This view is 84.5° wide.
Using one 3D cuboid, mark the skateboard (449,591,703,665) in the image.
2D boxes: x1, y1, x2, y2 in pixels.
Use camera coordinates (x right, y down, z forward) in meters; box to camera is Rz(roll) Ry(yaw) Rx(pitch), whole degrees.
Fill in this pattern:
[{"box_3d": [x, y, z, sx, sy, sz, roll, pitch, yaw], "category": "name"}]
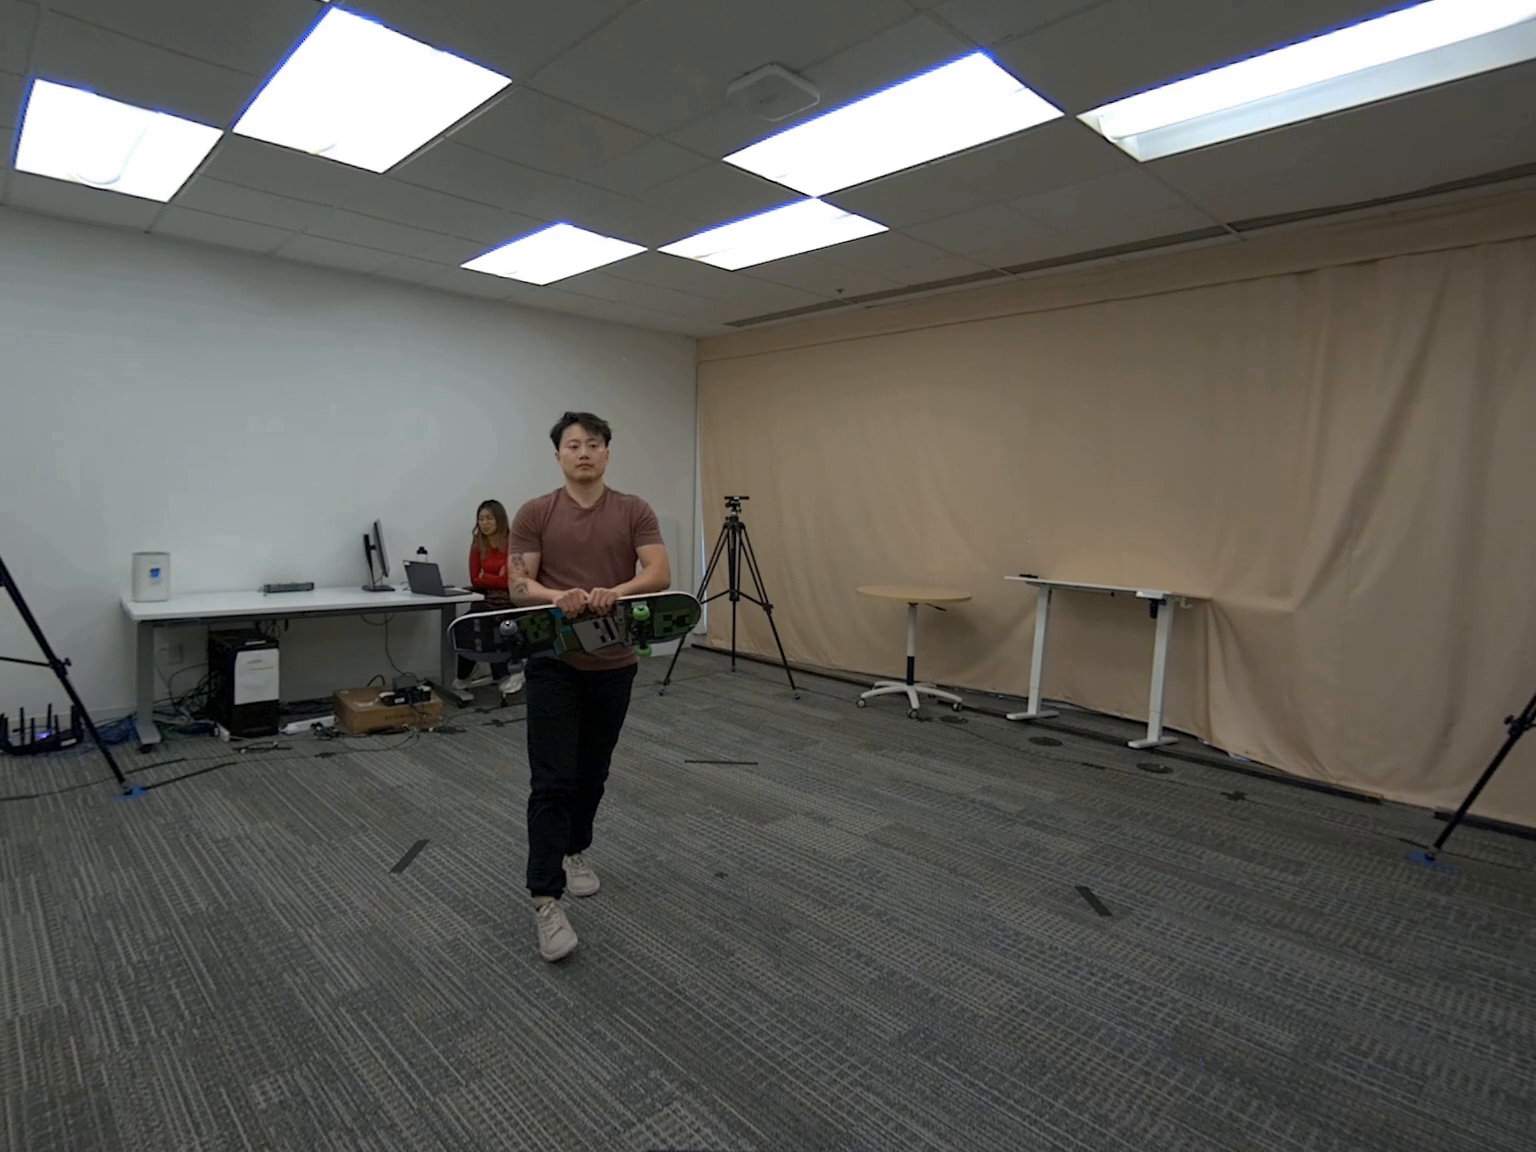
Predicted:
[{"box_3d": [-0.599, 0.188, 2.608, 0.781, 0.189, 0.113, -7, 35, -7], "category": "skateboard"}]
